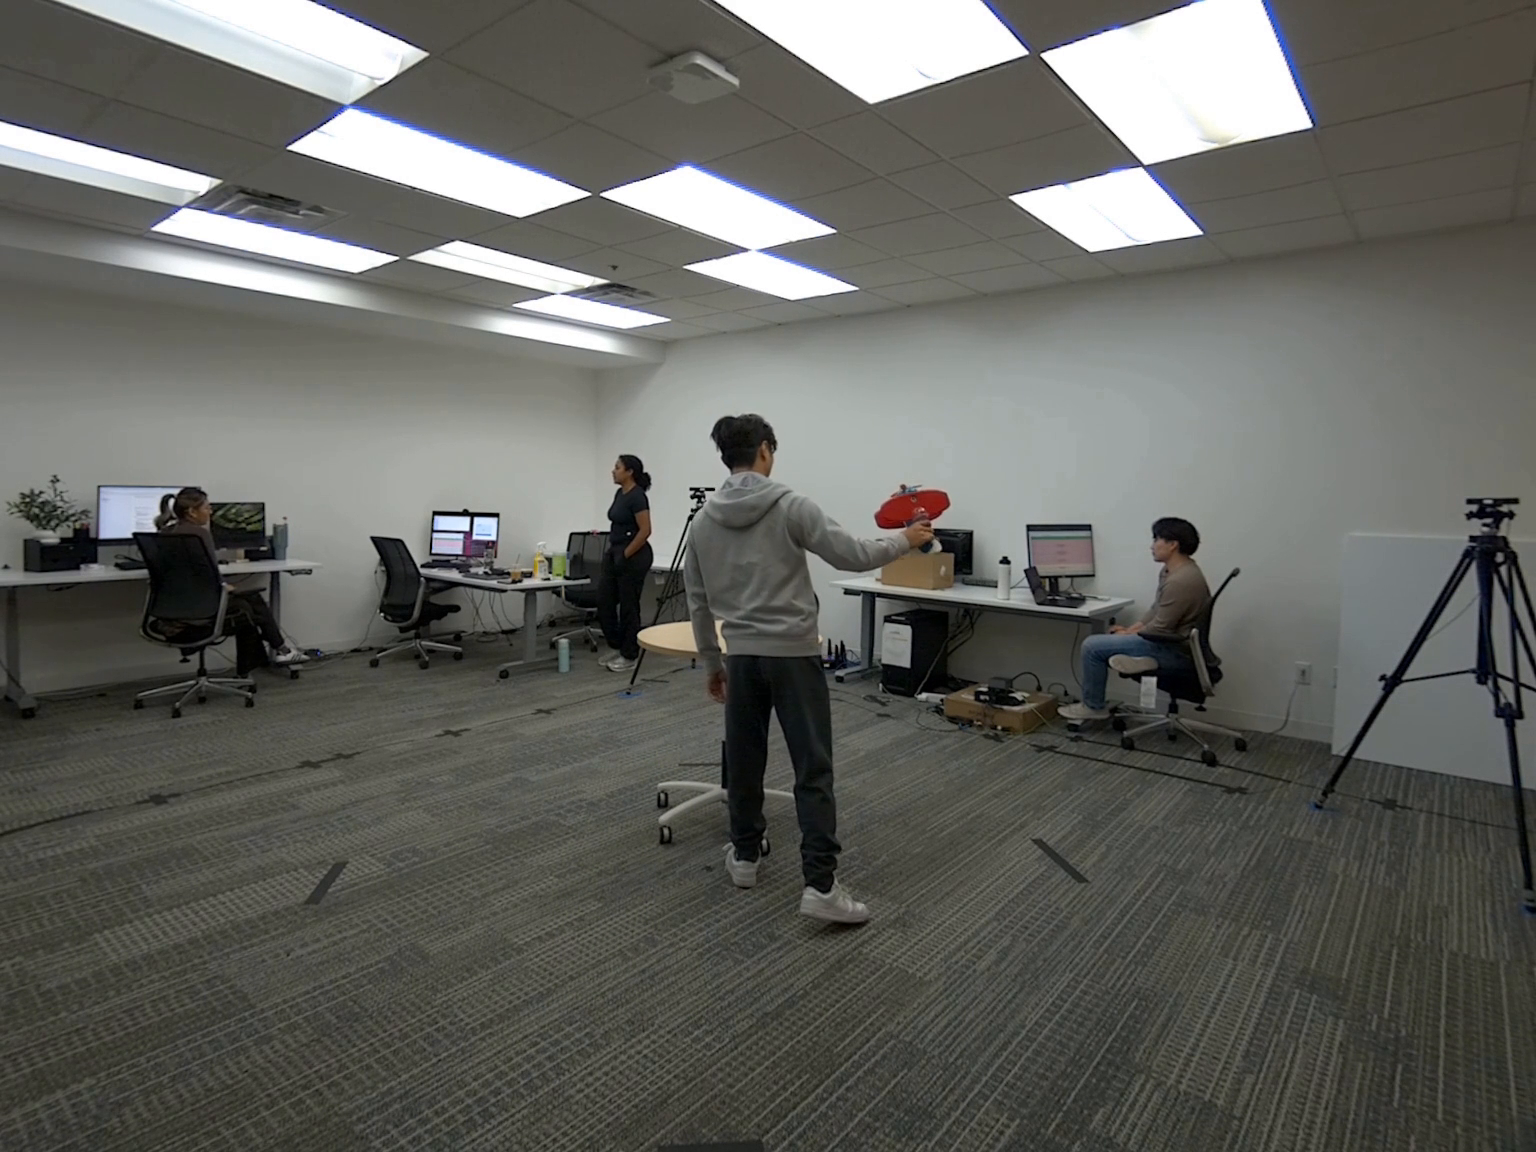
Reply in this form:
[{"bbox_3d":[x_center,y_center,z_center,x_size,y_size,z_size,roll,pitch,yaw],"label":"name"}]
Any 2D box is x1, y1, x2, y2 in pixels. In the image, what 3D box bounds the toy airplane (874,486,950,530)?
[{"bbox_3d":[0.534,-0.205,3.036,0.250,0.267,0.153,-39,-22,-23],"label":"toy airplane"}]
